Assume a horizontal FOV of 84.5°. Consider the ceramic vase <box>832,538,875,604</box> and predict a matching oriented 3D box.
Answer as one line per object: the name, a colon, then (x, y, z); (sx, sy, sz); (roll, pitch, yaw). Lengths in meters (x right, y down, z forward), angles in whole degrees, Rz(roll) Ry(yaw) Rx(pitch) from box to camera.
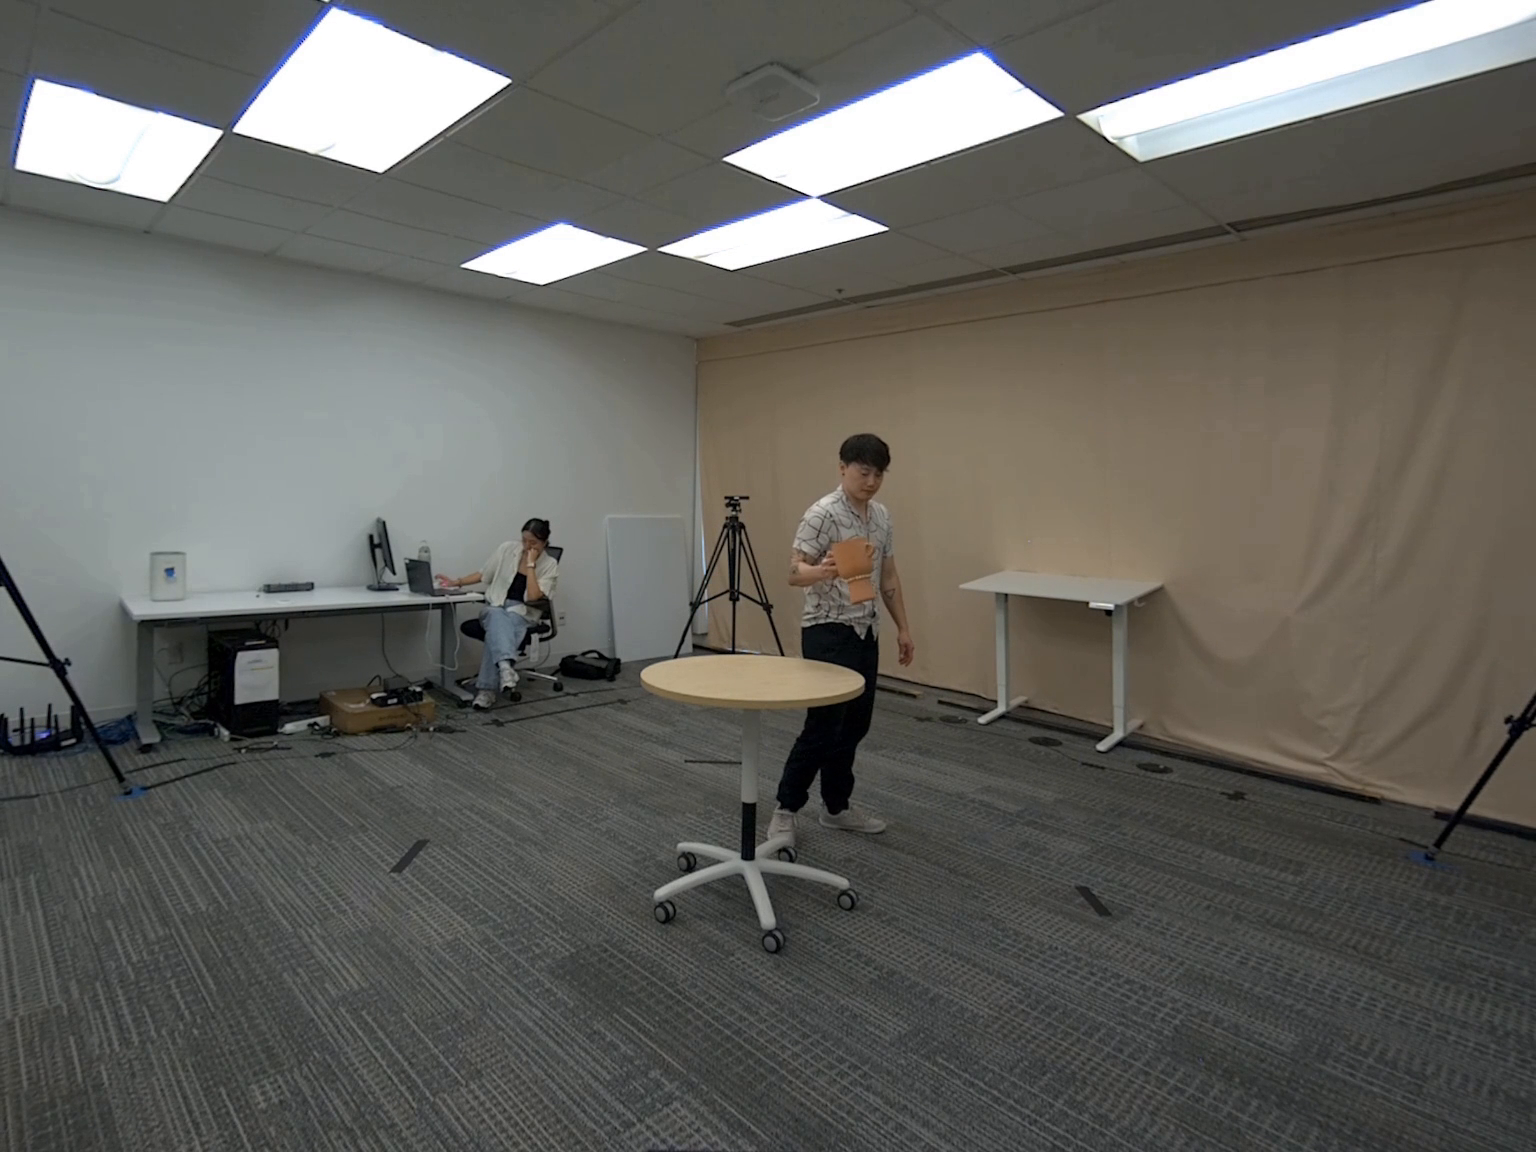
ceramic vase: (0.310, -0.019, 3.037); (0.134, 0.221, 0.158); (-11, -7, -9)
